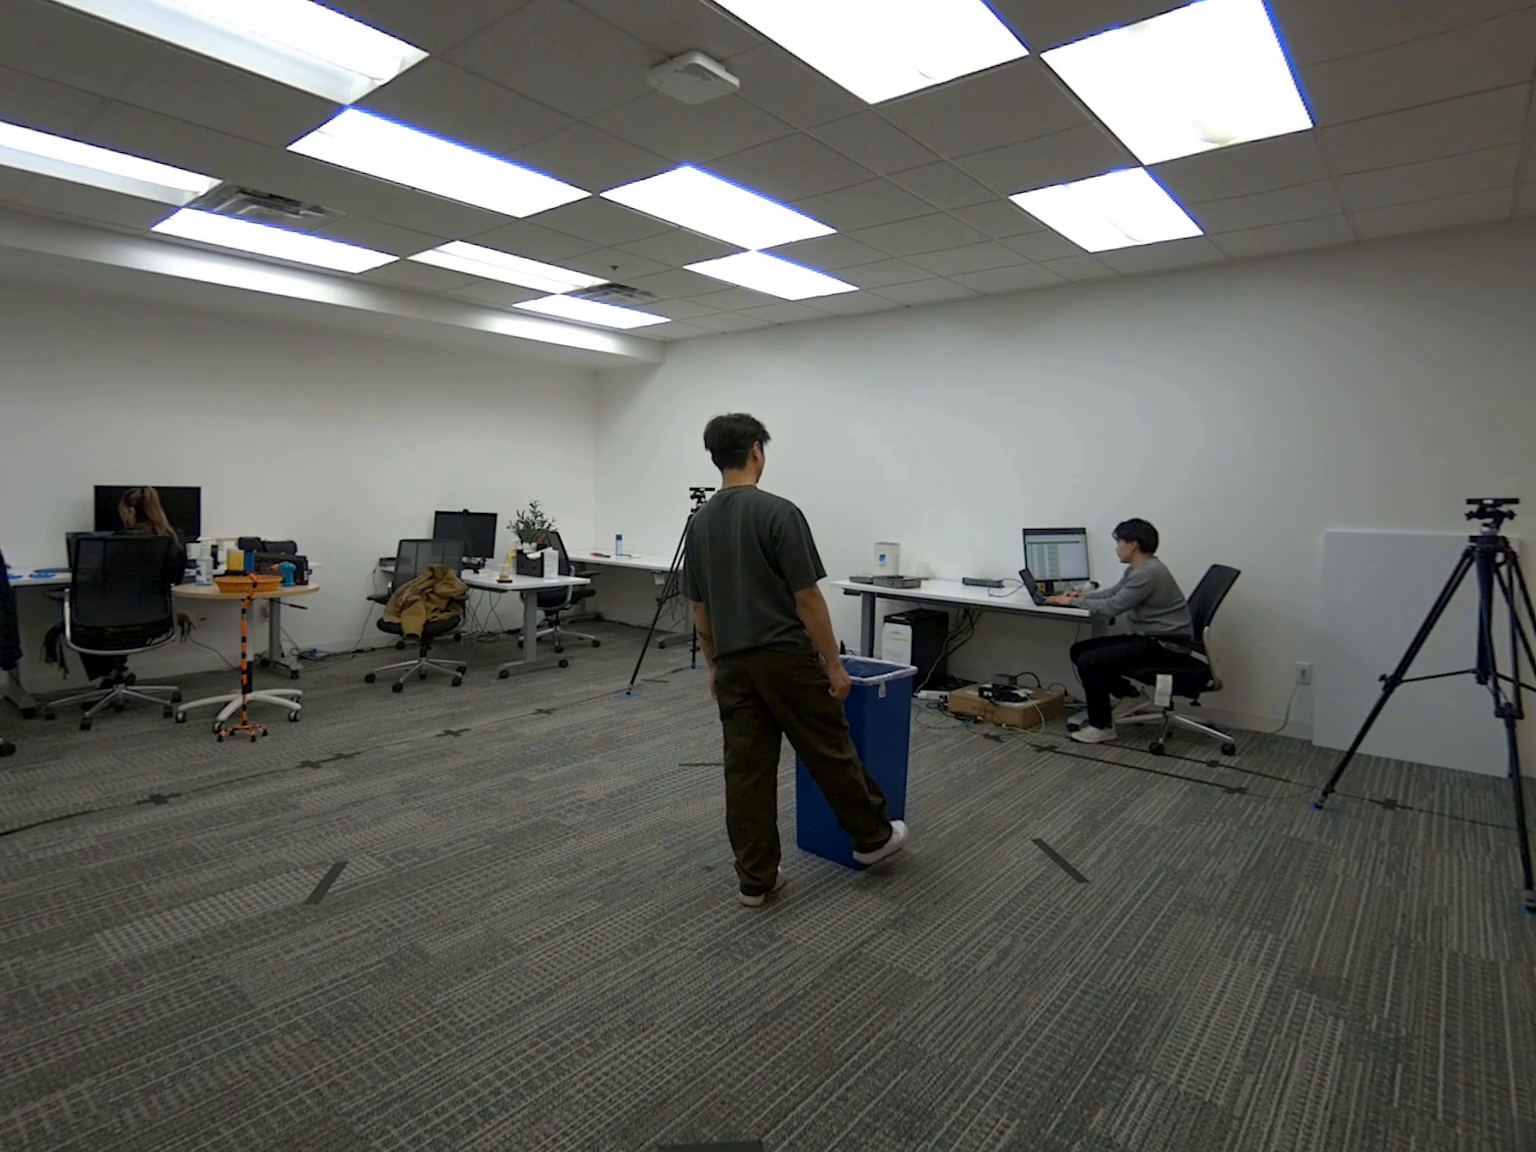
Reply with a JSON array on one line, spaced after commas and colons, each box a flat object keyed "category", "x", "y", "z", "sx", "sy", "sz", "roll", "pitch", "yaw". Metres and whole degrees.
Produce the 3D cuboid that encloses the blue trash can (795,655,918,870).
[{"category": "blue trash can", "x": 0.319, "y": 0.699, "z": 3.301, "sx": 0.391, "sy": 0.712, "sz": 0.362, "roll": 4, "pitch": 3, "yaw": 41}]
